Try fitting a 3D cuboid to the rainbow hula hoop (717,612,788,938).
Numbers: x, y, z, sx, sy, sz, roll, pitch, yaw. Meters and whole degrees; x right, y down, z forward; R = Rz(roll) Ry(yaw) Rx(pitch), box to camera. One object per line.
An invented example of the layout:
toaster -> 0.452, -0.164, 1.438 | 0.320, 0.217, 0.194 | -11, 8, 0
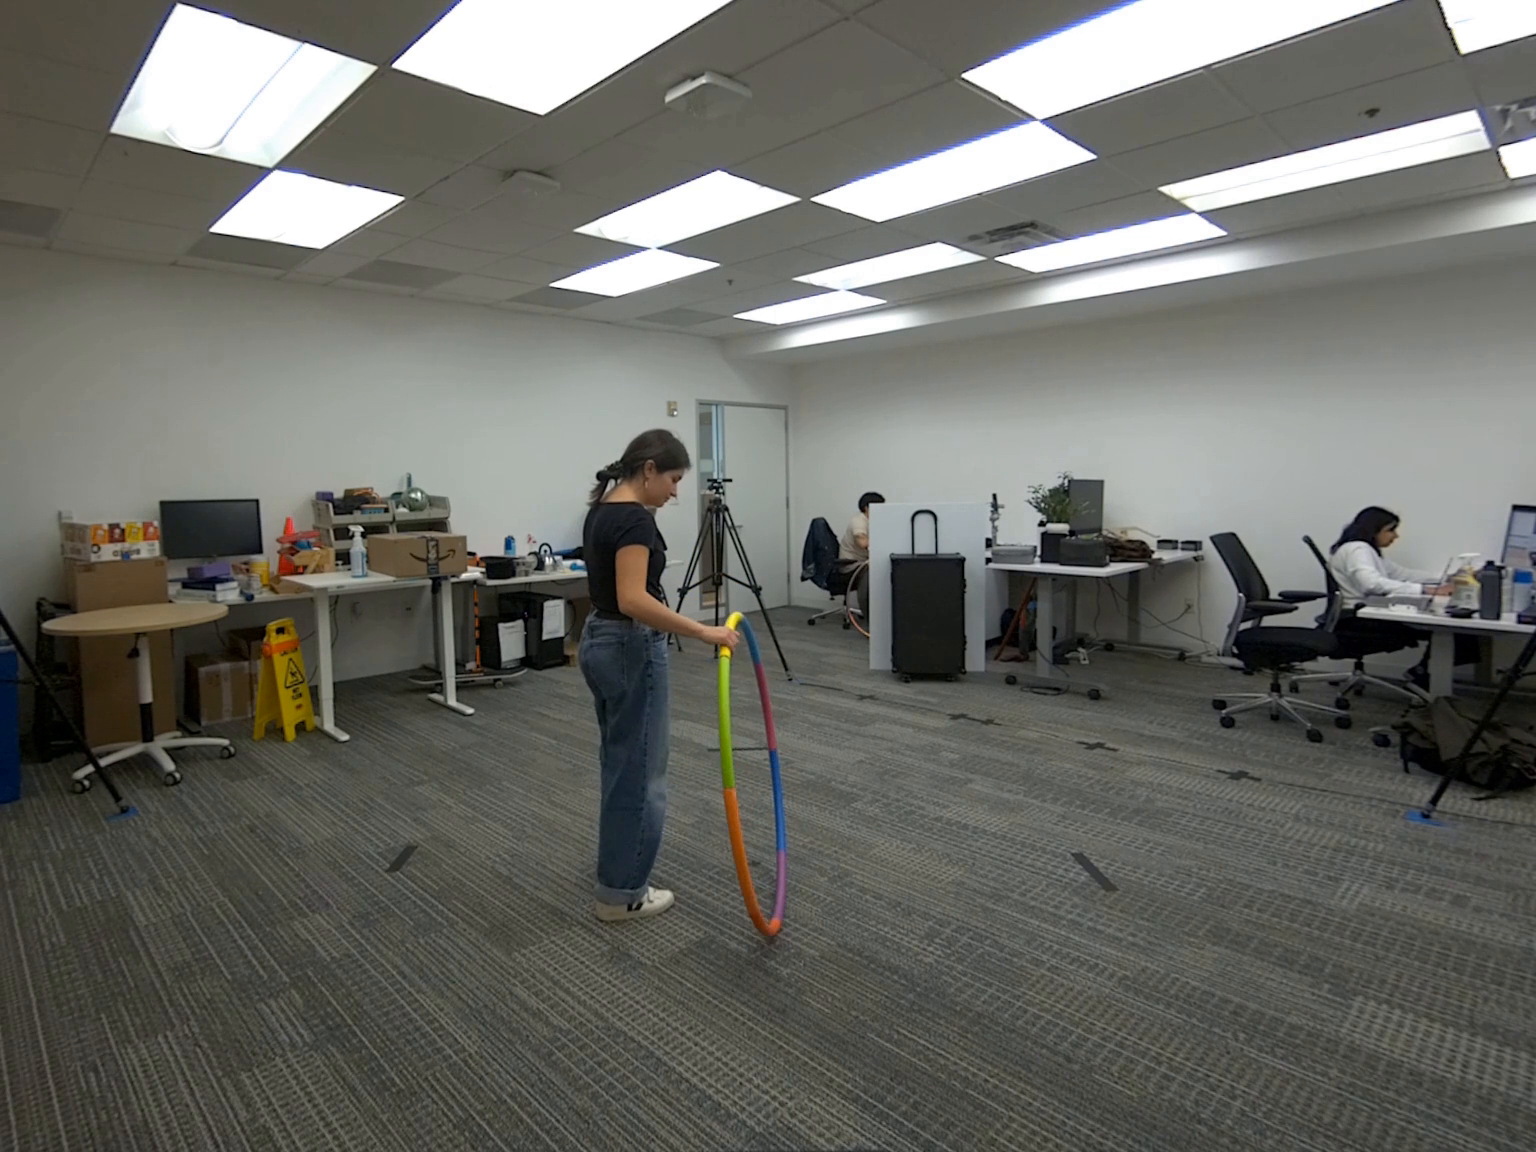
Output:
rainbow hula hoop -> -0.036, 0.604, 2.722 | 0.036, 0.976, 0.975 | -9, 4, 6
